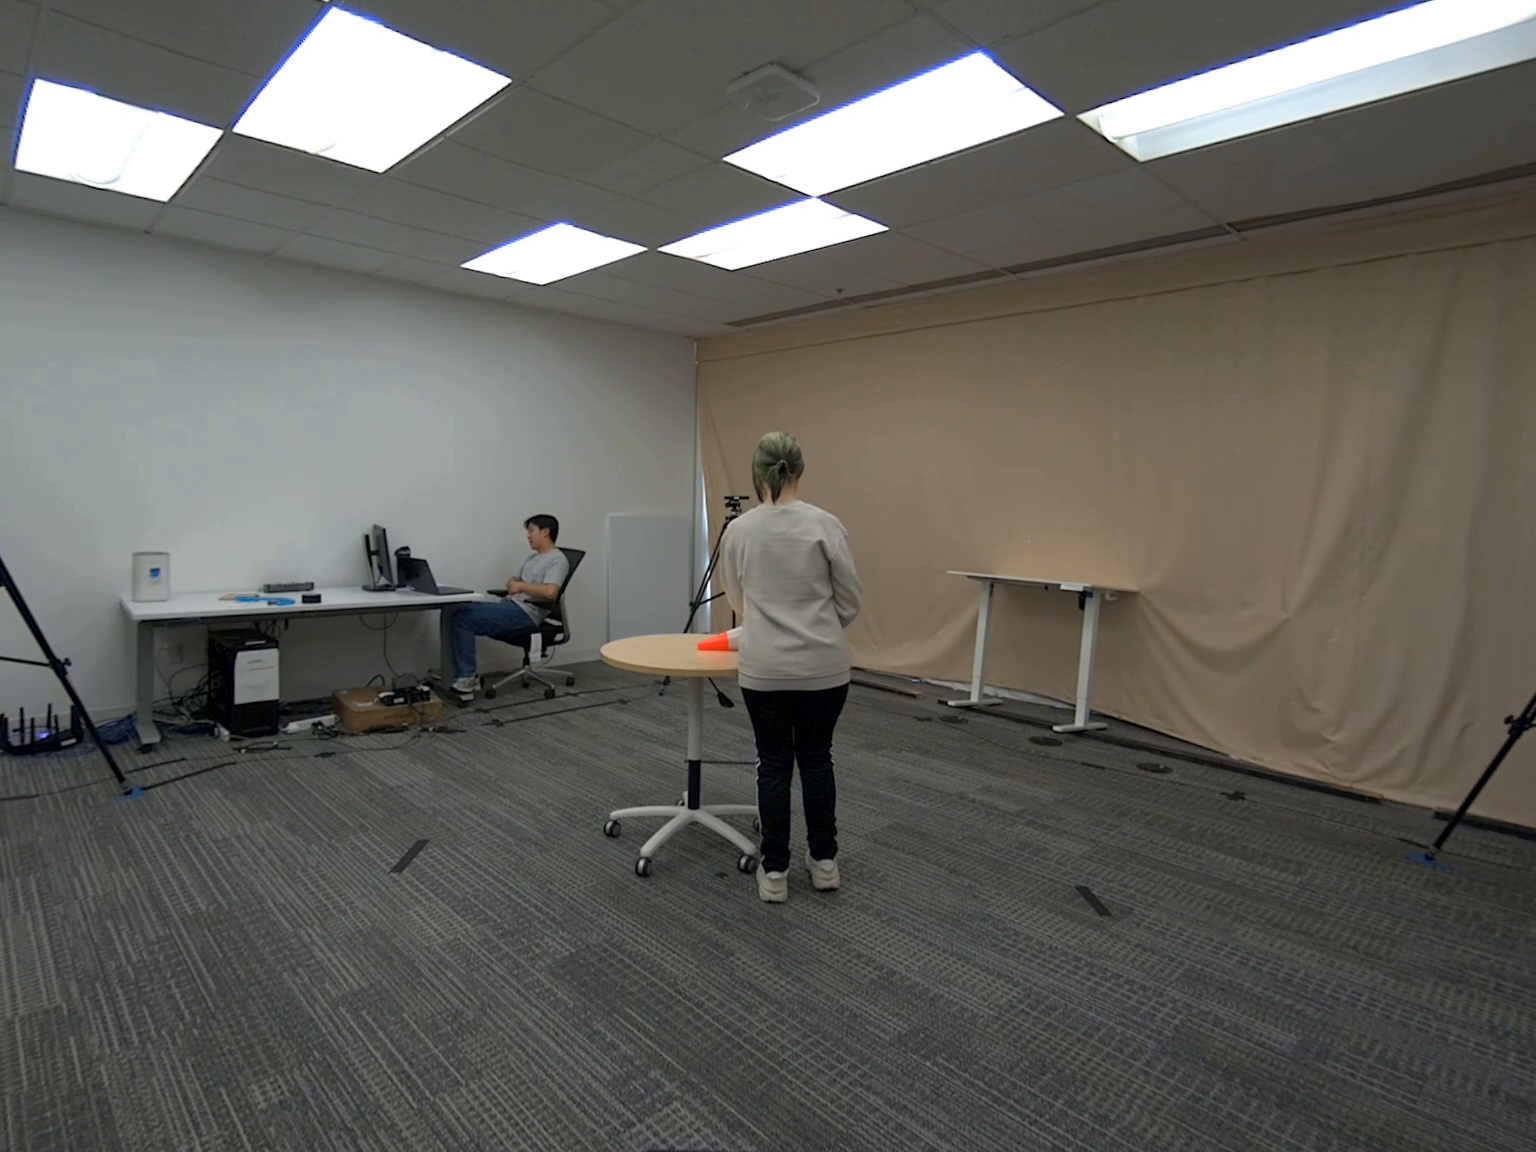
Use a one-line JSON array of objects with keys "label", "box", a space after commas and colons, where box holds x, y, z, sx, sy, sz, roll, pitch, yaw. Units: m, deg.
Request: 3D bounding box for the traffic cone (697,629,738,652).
[{"label": "traffic cone", "box": [-0.106, 0.258, 3.380, 0.382, 0.205, 0.204, -10, 1, -5]}]
